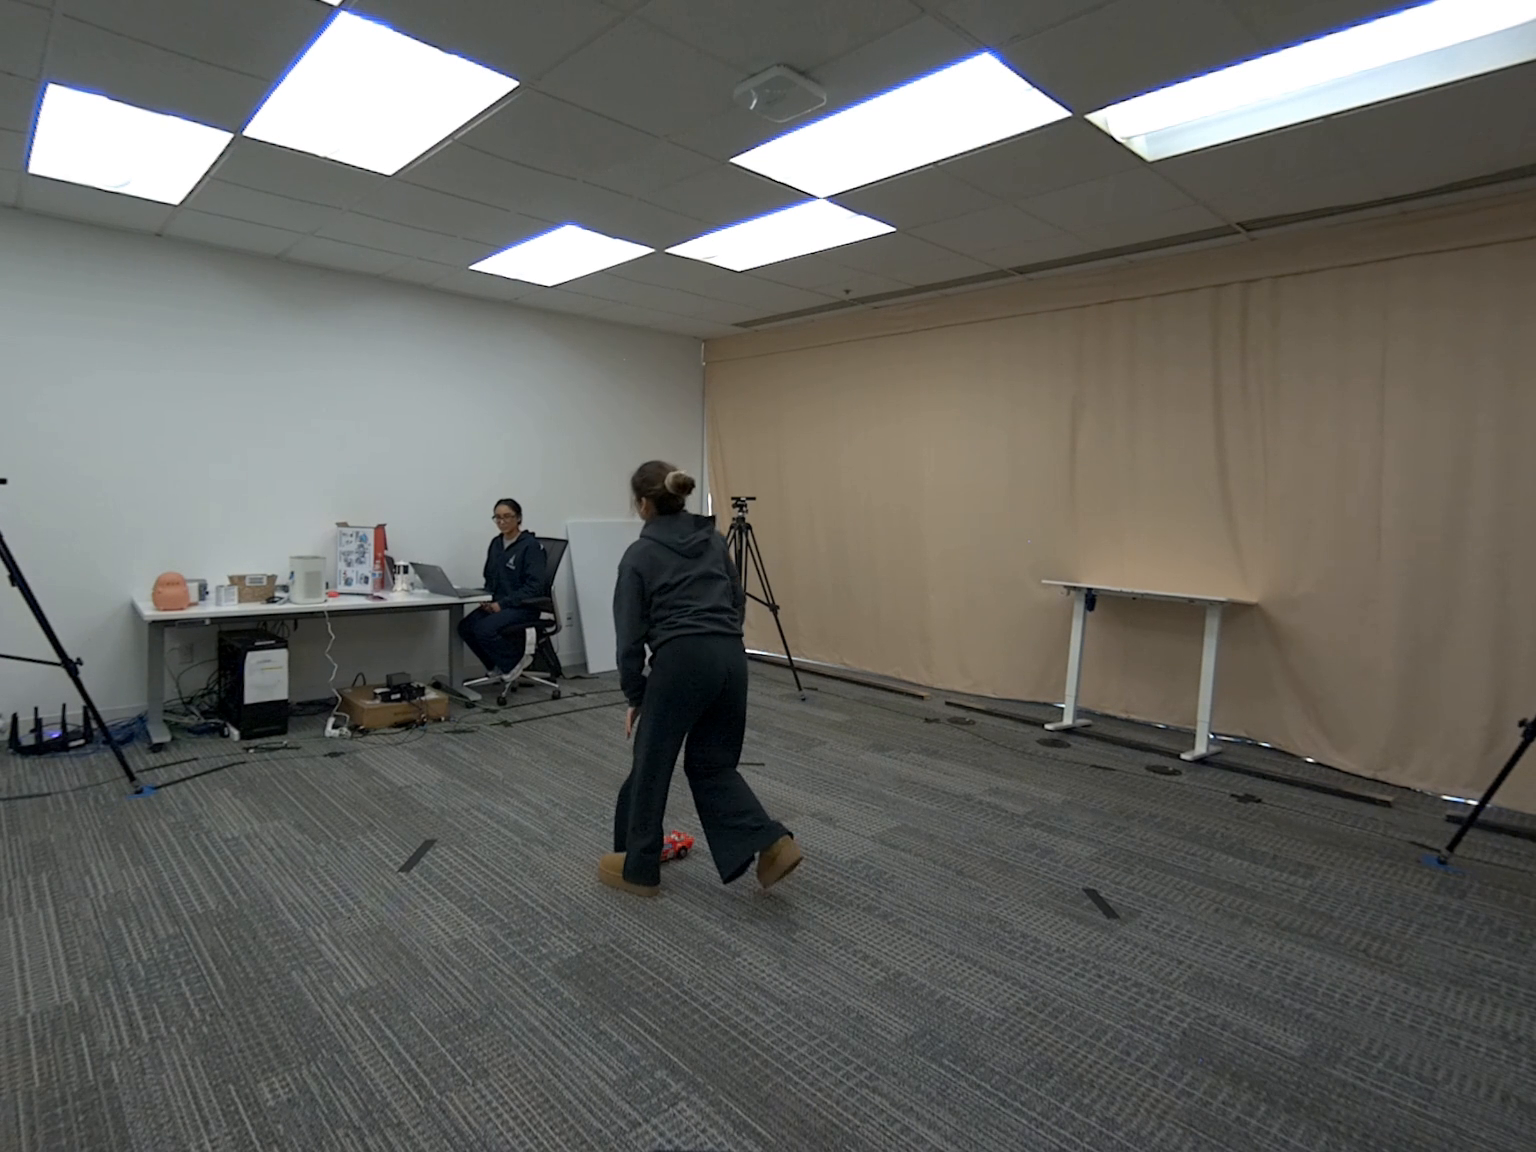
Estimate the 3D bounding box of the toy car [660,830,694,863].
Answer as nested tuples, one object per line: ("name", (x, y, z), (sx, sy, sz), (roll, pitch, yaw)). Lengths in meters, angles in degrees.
("toy car", (-0.412, 1.055, 3.256), (0.250, 0.082, 0.133), (-18, 16, -38))
